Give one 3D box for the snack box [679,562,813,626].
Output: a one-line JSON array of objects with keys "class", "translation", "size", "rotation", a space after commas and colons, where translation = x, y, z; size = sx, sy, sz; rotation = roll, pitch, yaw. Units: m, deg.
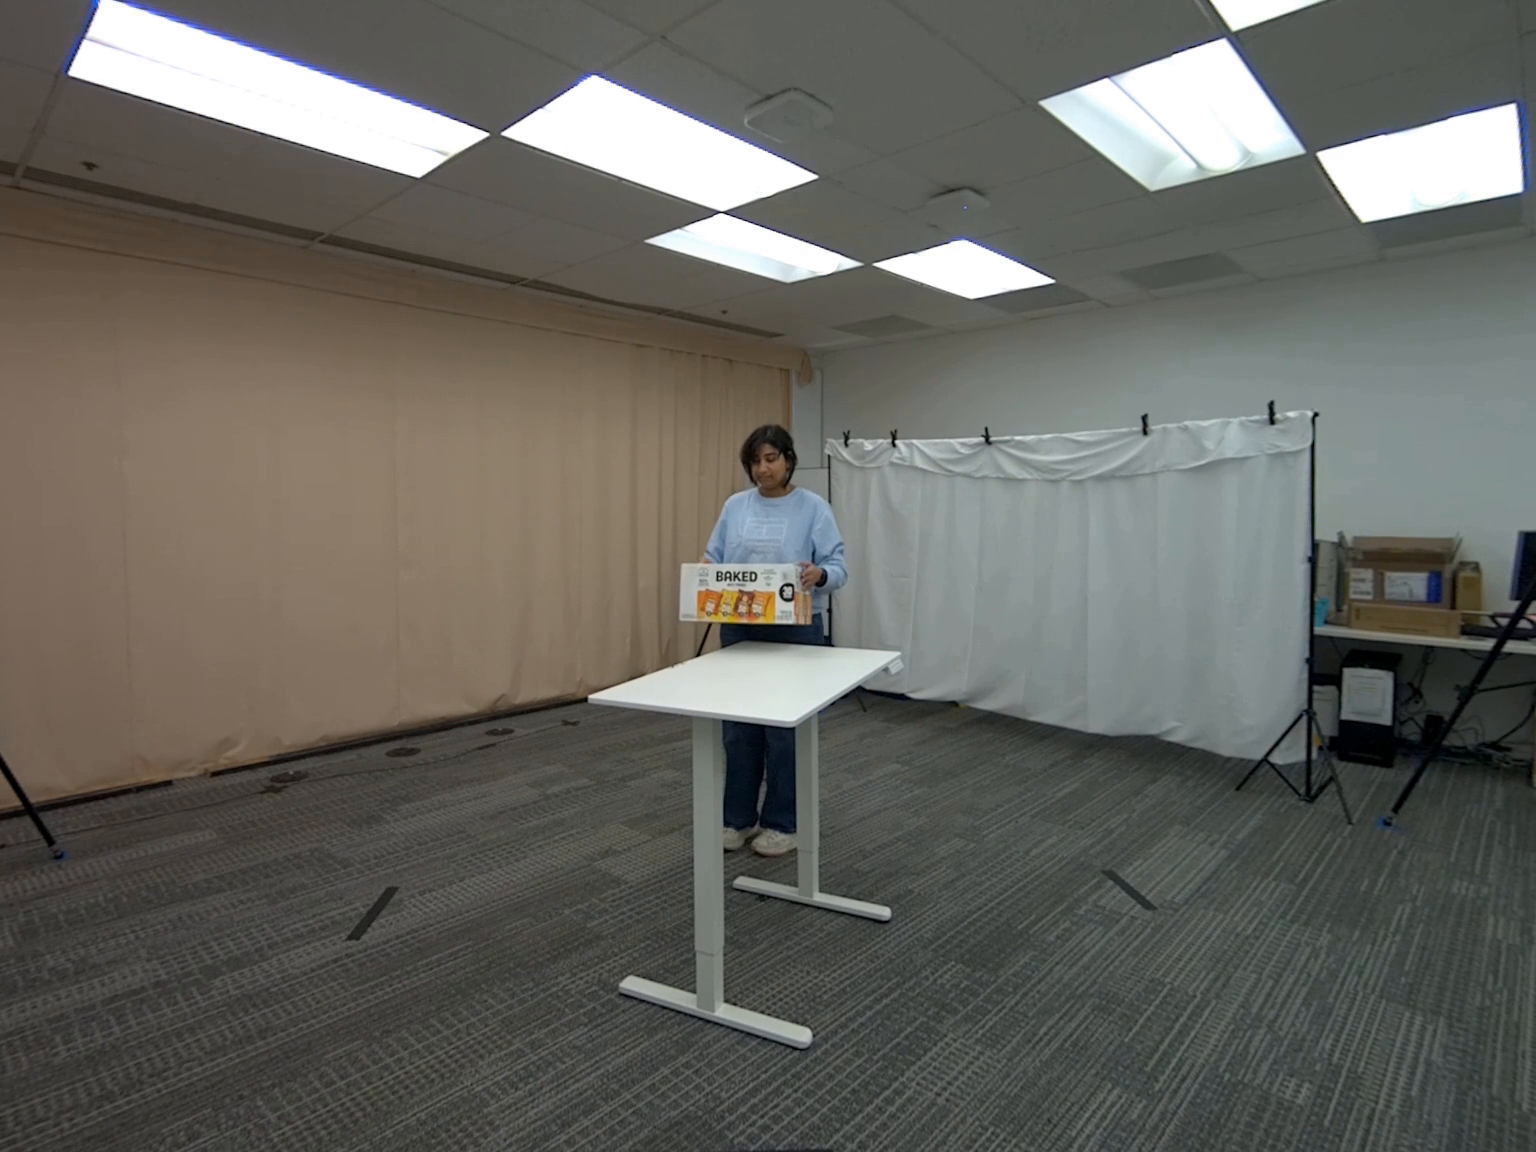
[{"class": "snack box", "translation": [-0.067, 0.073, 3.052], "size": [0.412, 0.206, 0.334], "rotation": [1, -4, 15]}]
